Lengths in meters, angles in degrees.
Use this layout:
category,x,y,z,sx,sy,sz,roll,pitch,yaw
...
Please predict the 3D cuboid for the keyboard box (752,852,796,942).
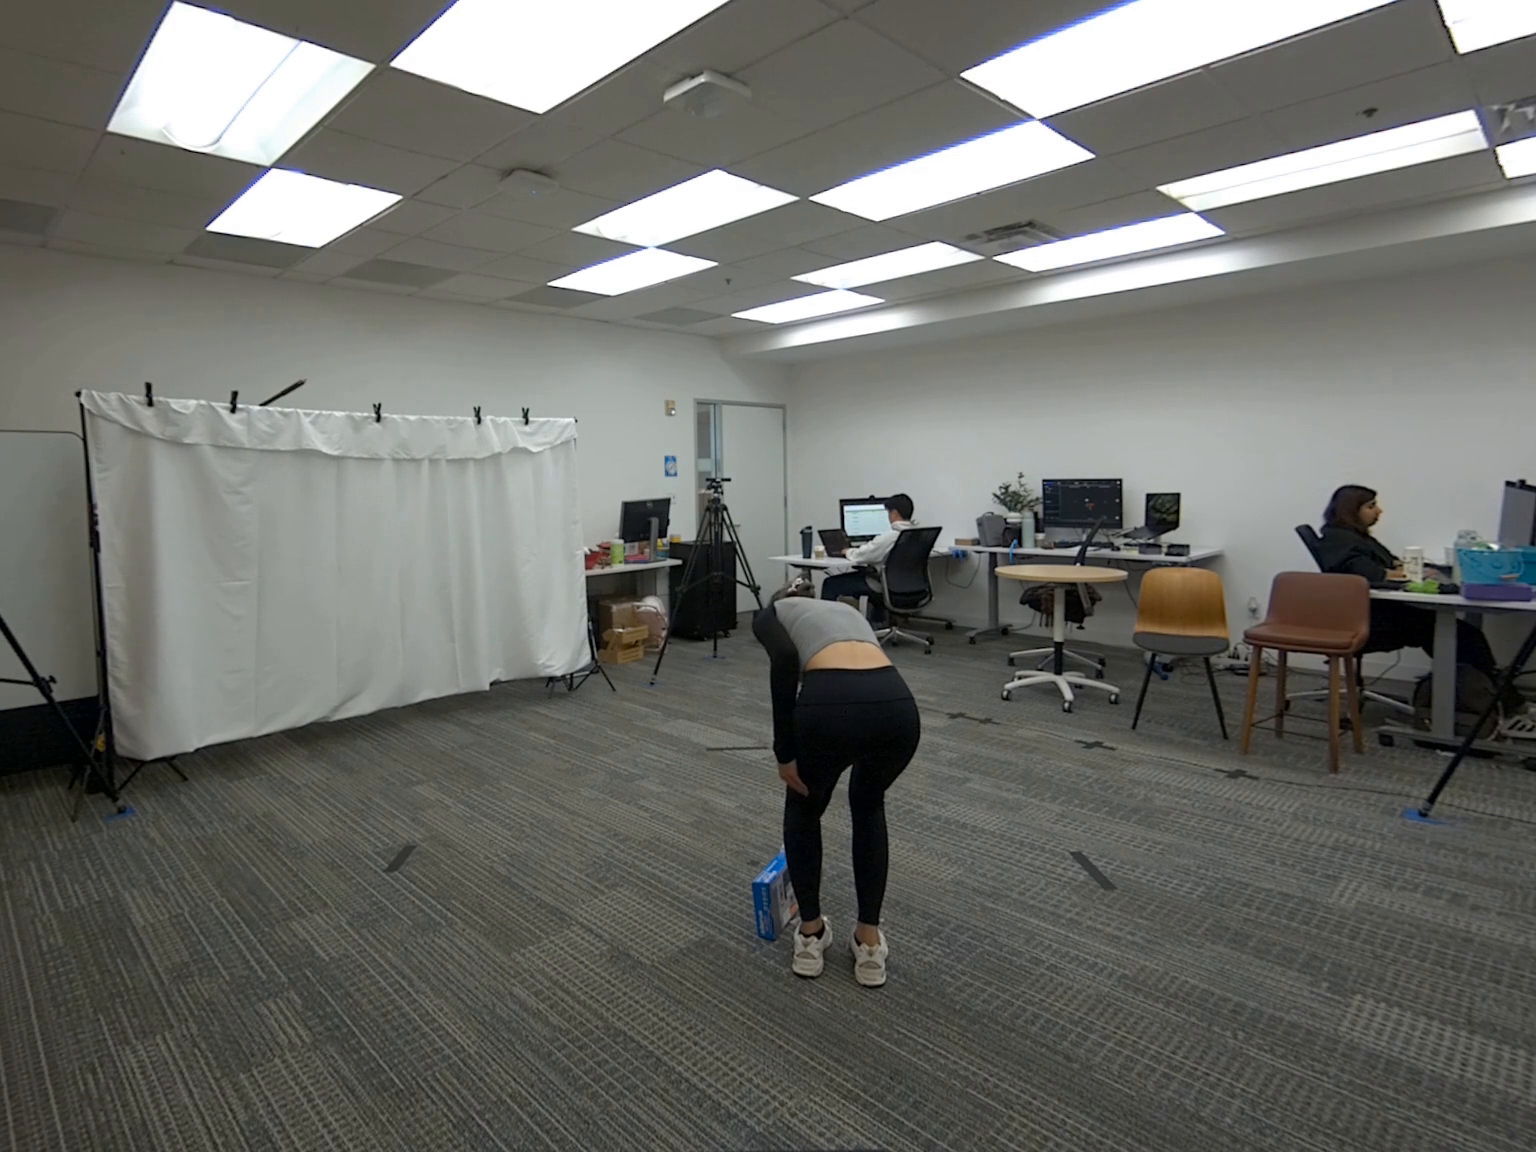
category,x,y,z,sx,sy,sz,roll,pitch,yaw
keyboard box,0.077,0.990,2.781,0.060,0.175,0.429,-6,4,25
